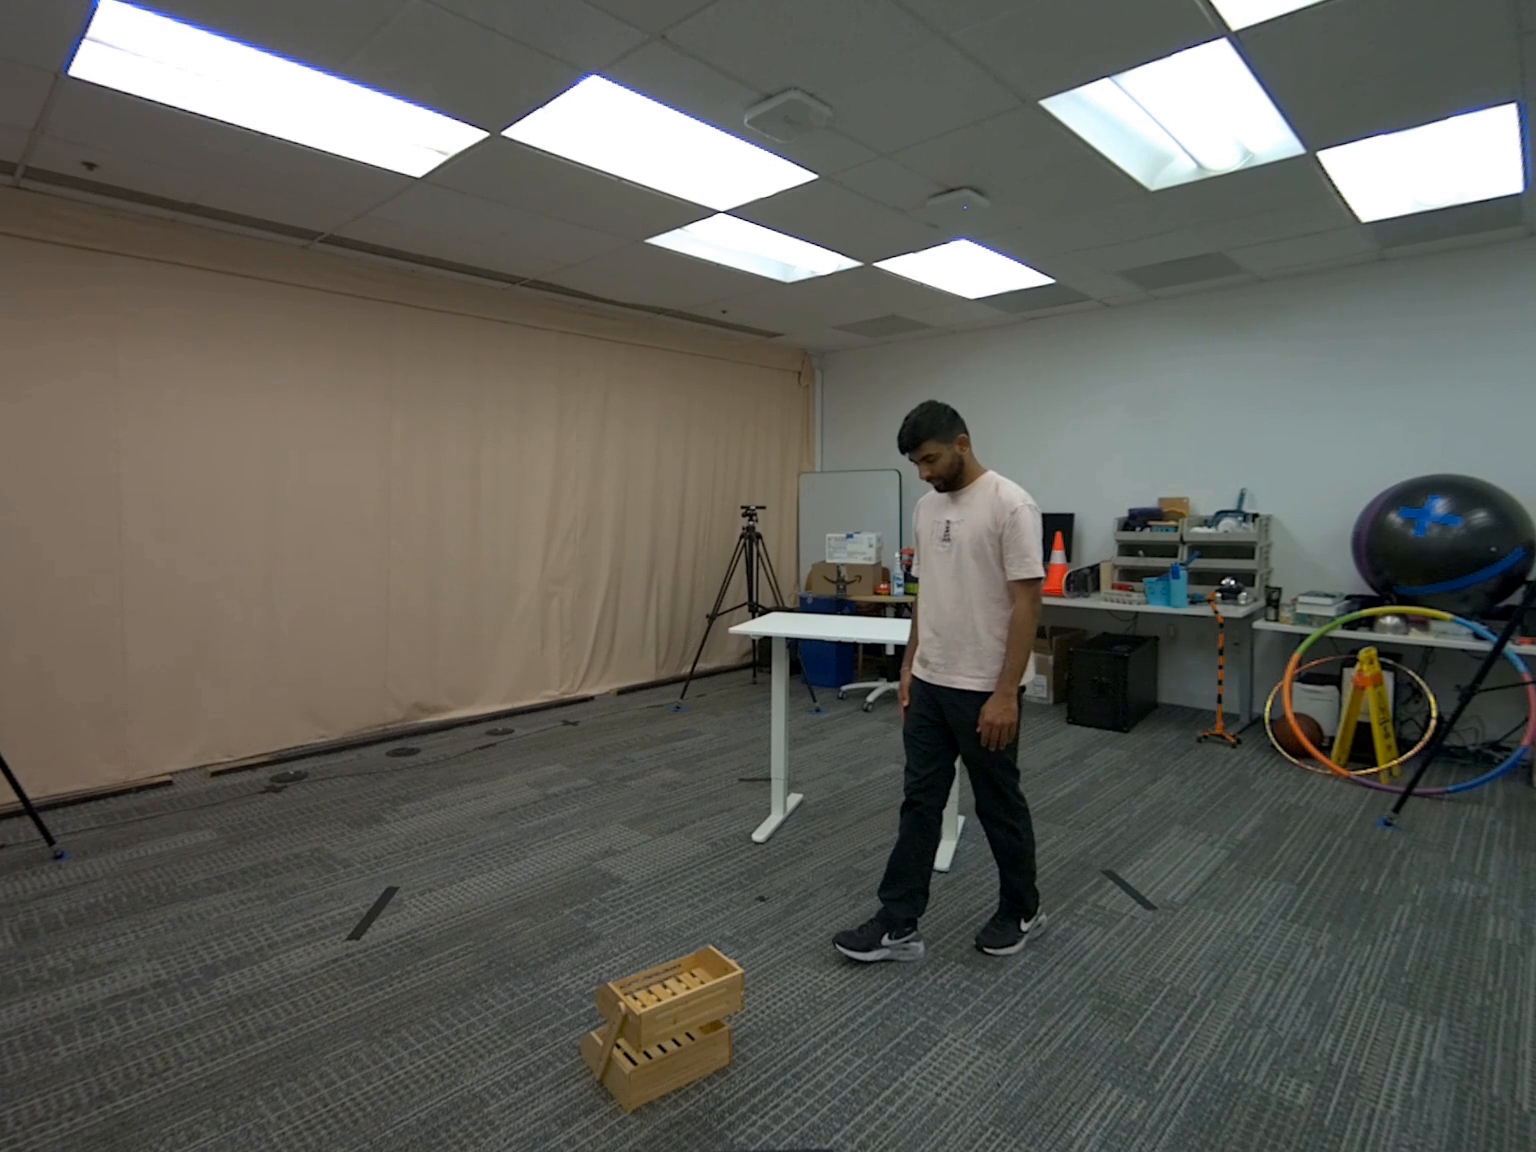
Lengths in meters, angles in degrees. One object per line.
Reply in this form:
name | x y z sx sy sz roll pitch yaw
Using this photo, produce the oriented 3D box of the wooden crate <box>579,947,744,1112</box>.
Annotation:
wooden crate | -0.267 1.088 2.087 0.315 0.273 0.312 -3 5 -37
